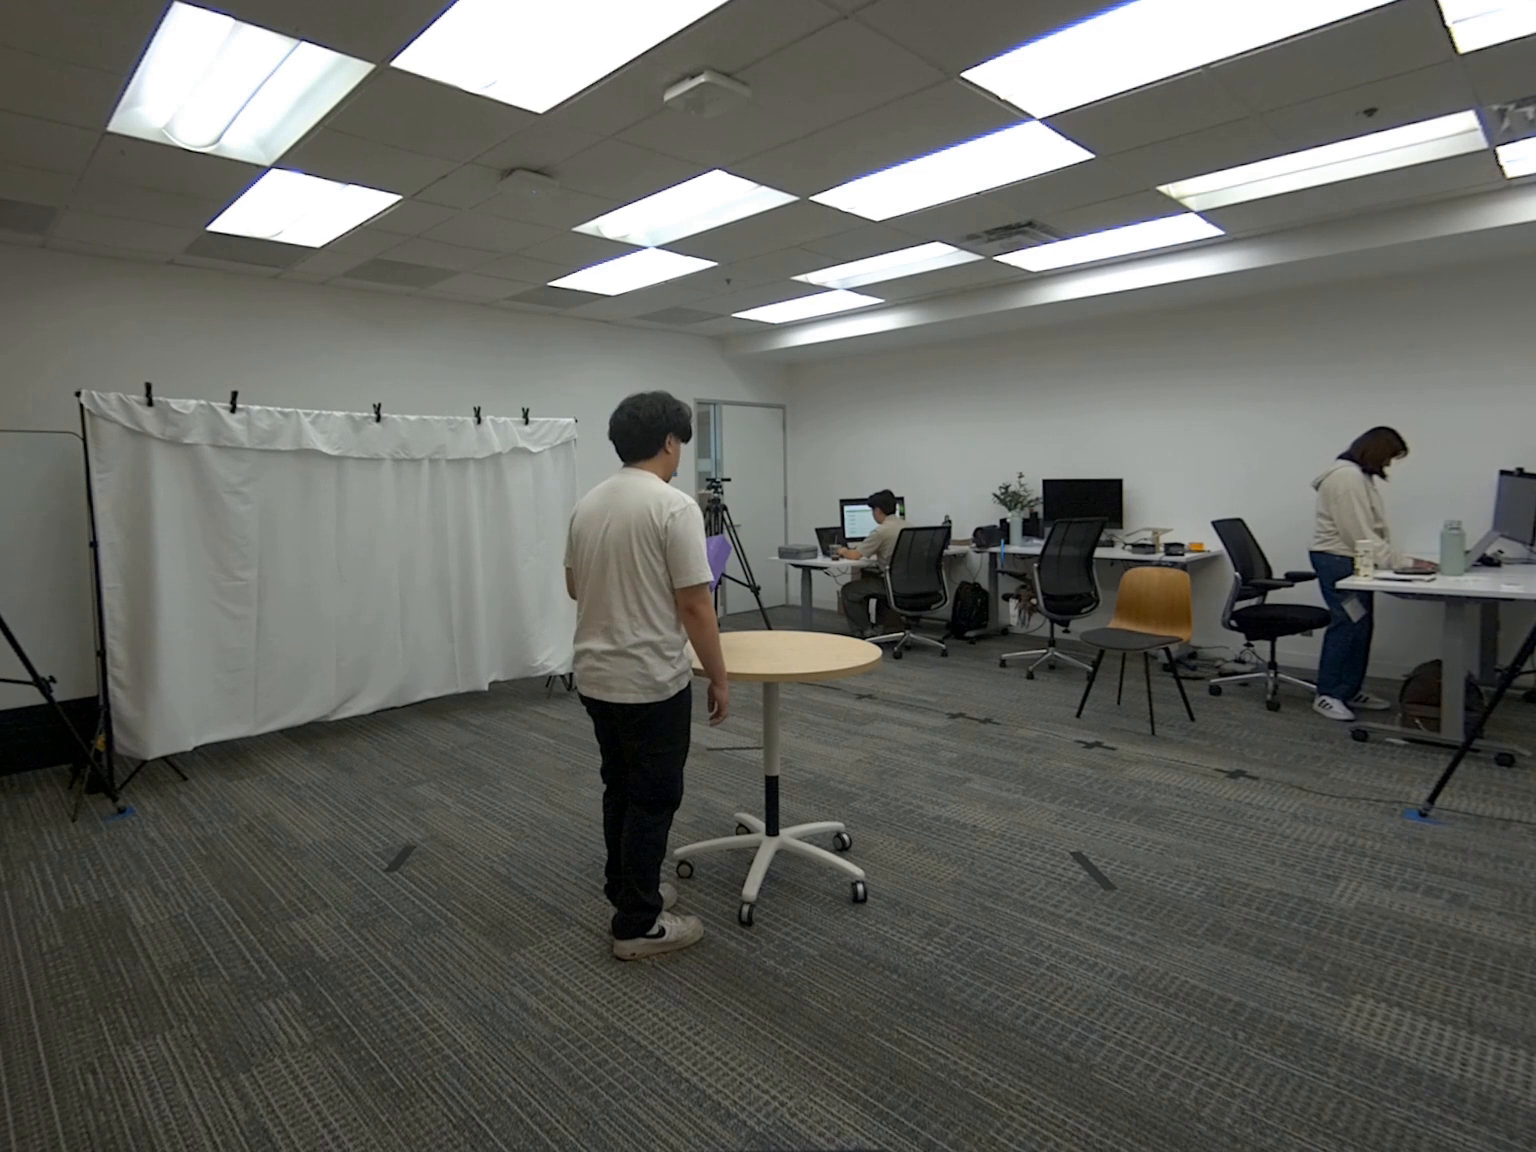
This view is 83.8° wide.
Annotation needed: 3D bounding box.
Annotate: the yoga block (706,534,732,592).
[{"bbox_3d":[-0.220,-0.033,2.868,0.152,0.074,0.232,-14,34,32],"label":"yoga block"}]
